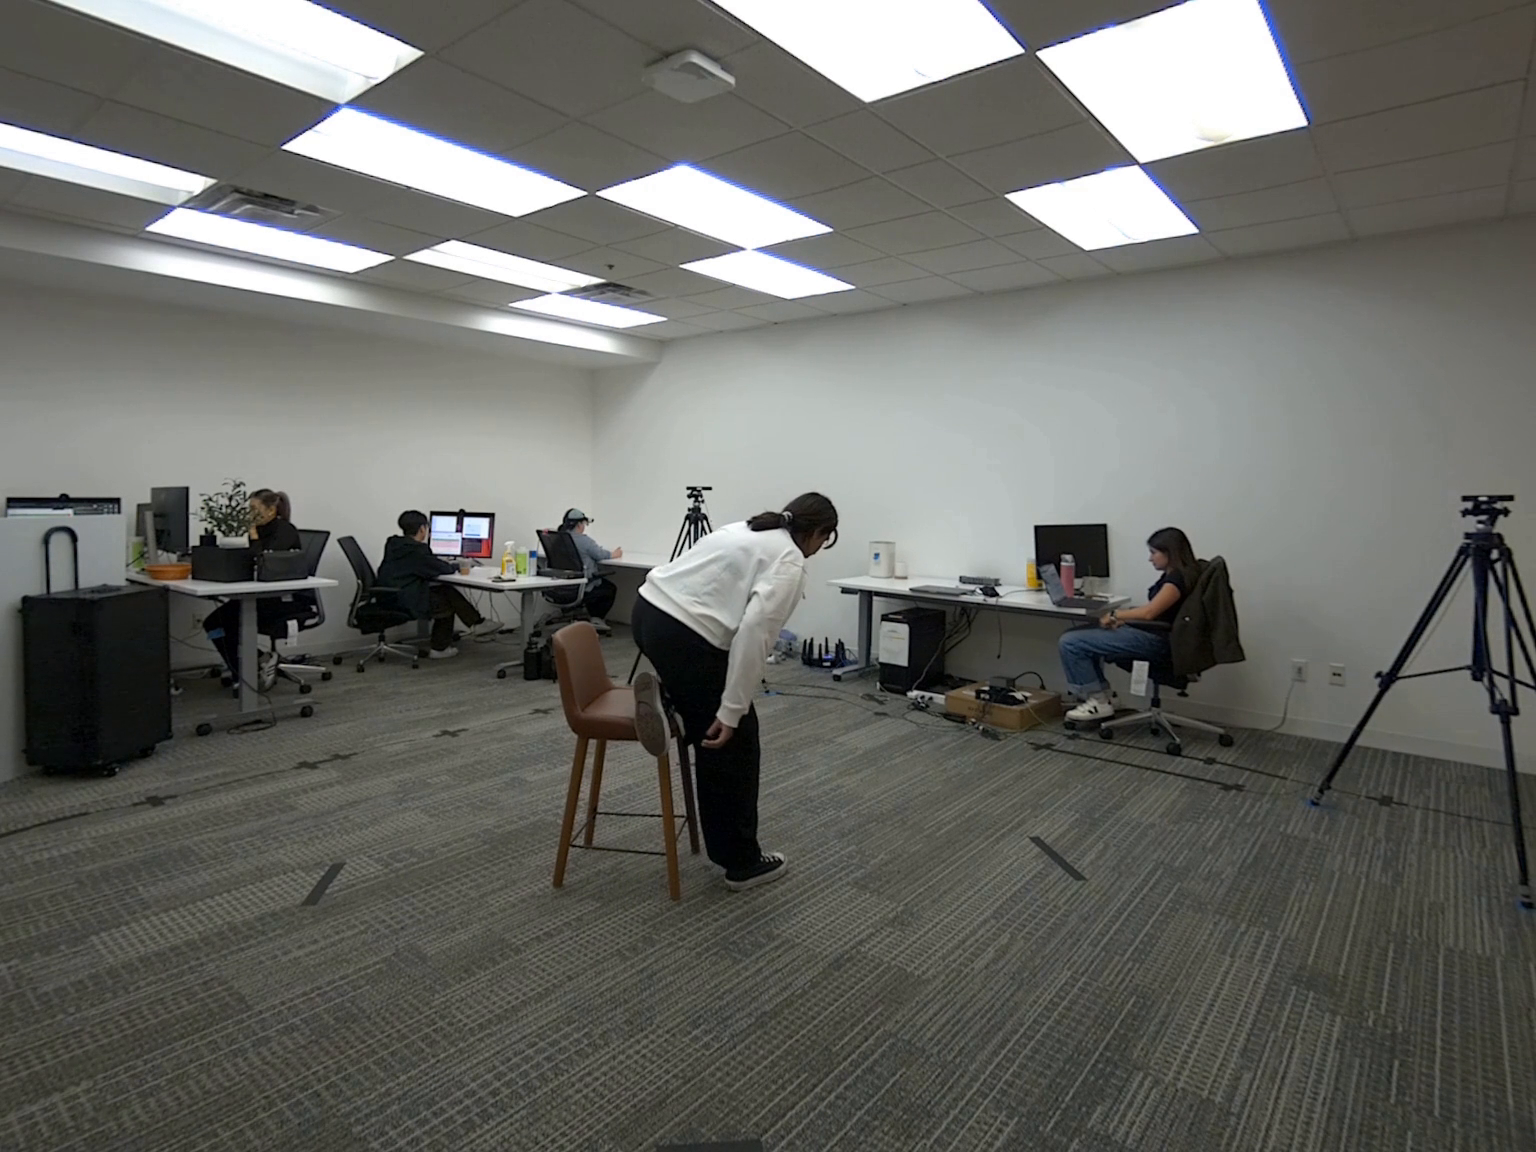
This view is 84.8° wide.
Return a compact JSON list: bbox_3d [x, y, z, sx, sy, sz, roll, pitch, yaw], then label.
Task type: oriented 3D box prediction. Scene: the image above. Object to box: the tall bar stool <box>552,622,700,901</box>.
[{"bbox_3d":[-0.507,0.632,3.074,0.472,0.888,0.453,0,3,8],"label":"tall bar stool"}]
